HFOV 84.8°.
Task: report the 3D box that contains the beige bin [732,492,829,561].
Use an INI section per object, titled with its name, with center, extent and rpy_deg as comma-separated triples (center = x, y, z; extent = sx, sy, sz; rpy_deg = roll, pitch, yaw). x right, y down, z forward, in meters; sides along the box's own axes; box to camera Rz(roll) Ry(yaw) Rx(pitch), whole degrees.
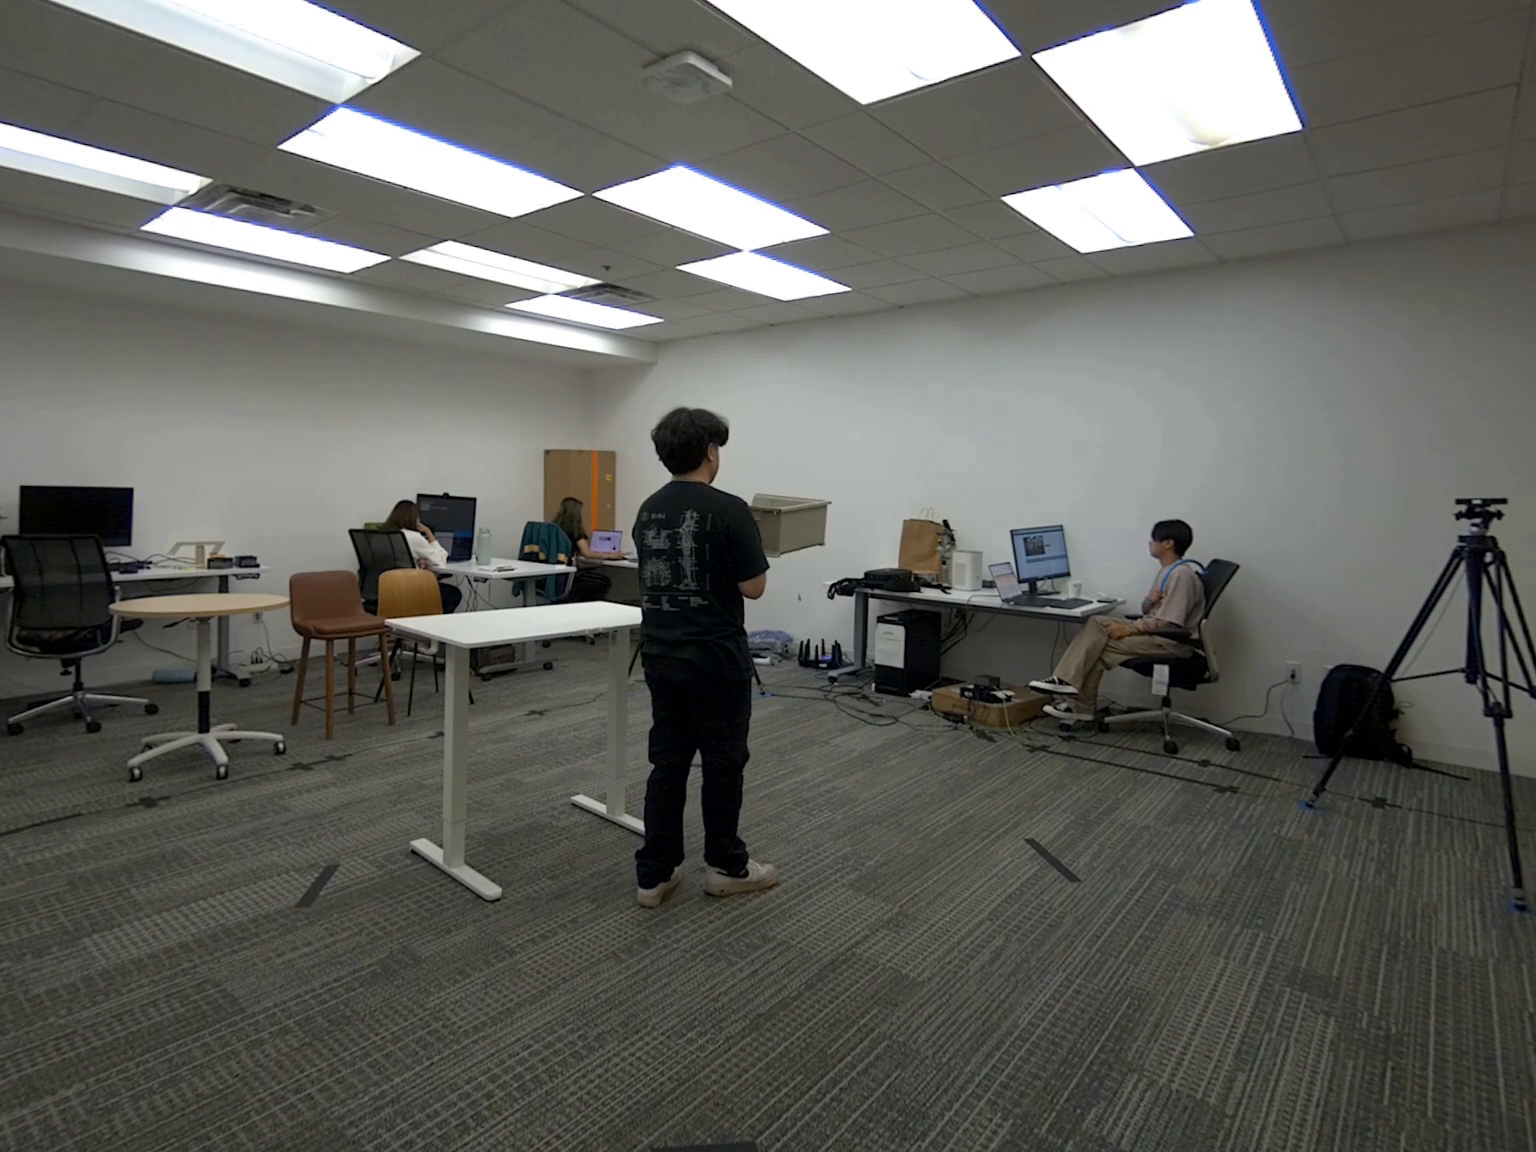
[beige bin]
center = -0.031, -0.205, 3.260
extent = 0.389, 0.187, 0.413
rpy_deg = 8, 12, 28
